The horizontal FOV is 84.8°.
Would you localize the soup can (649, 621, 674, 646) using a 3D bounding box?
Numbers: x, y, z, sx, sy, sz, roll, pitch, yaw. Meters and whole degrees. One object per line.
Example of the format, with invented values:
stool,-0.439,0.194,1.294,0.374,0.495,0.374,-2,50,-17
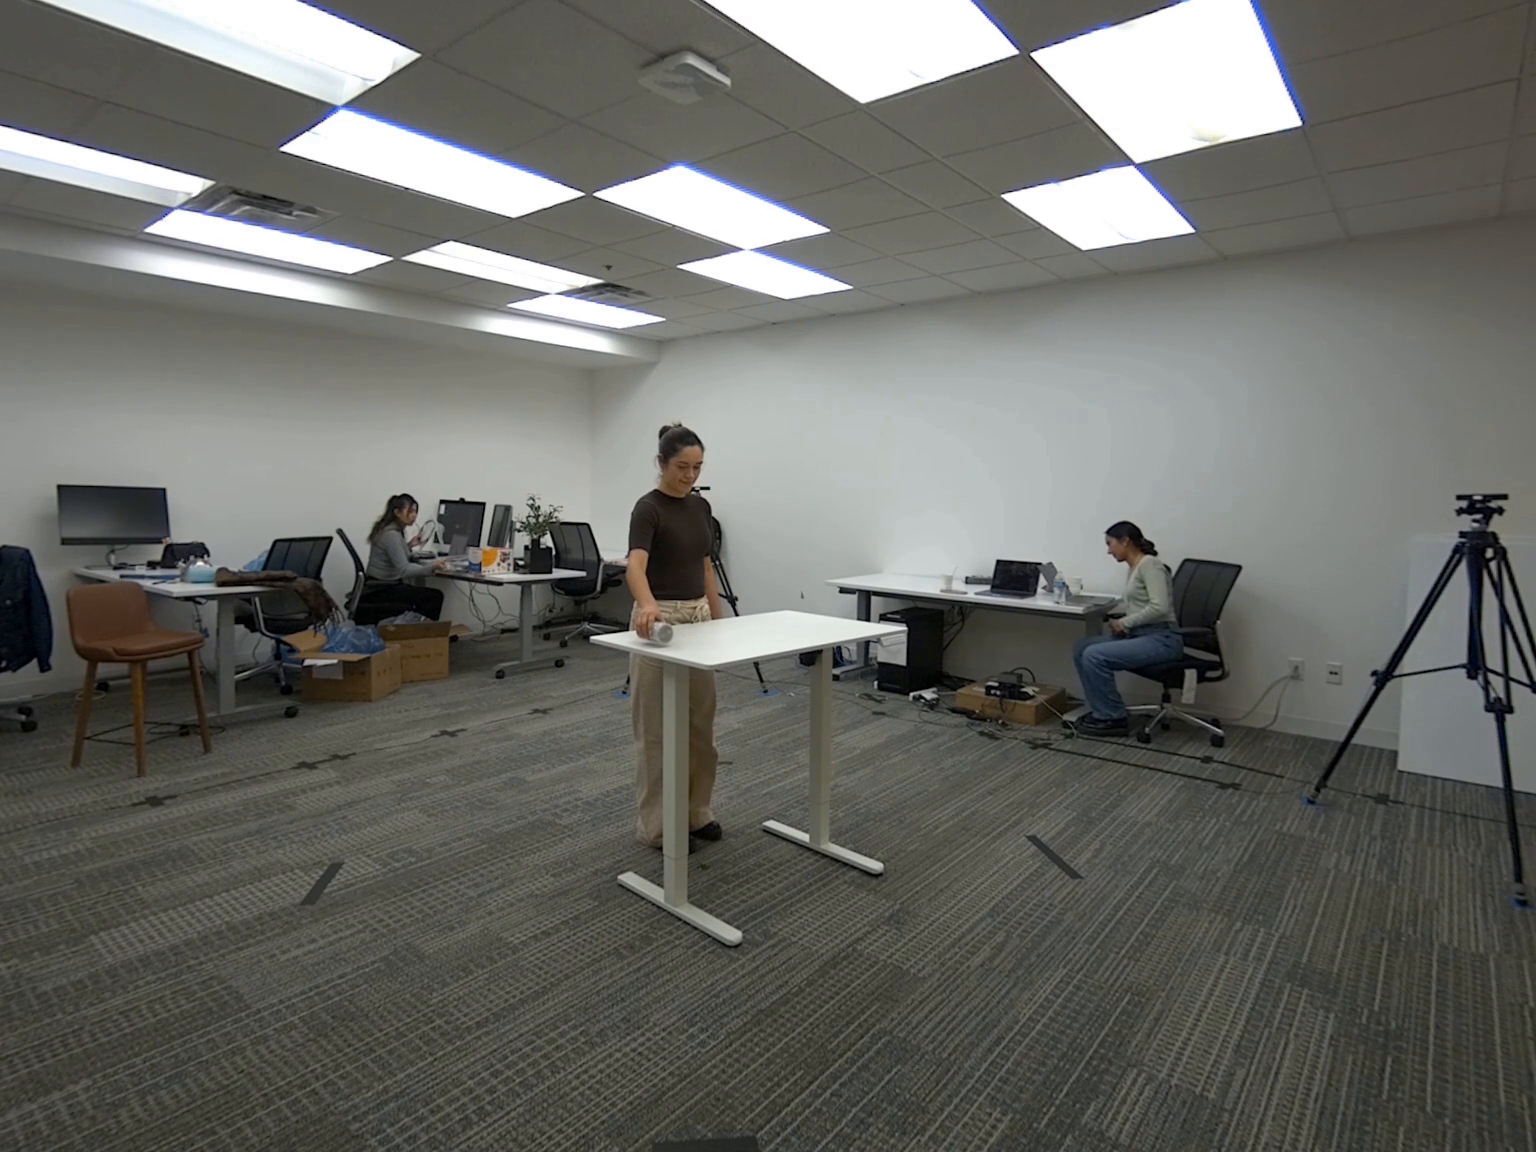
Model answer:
soup can,-0.366,0.170,2.732,0.065,0.067,0.125,-1,8,-24
